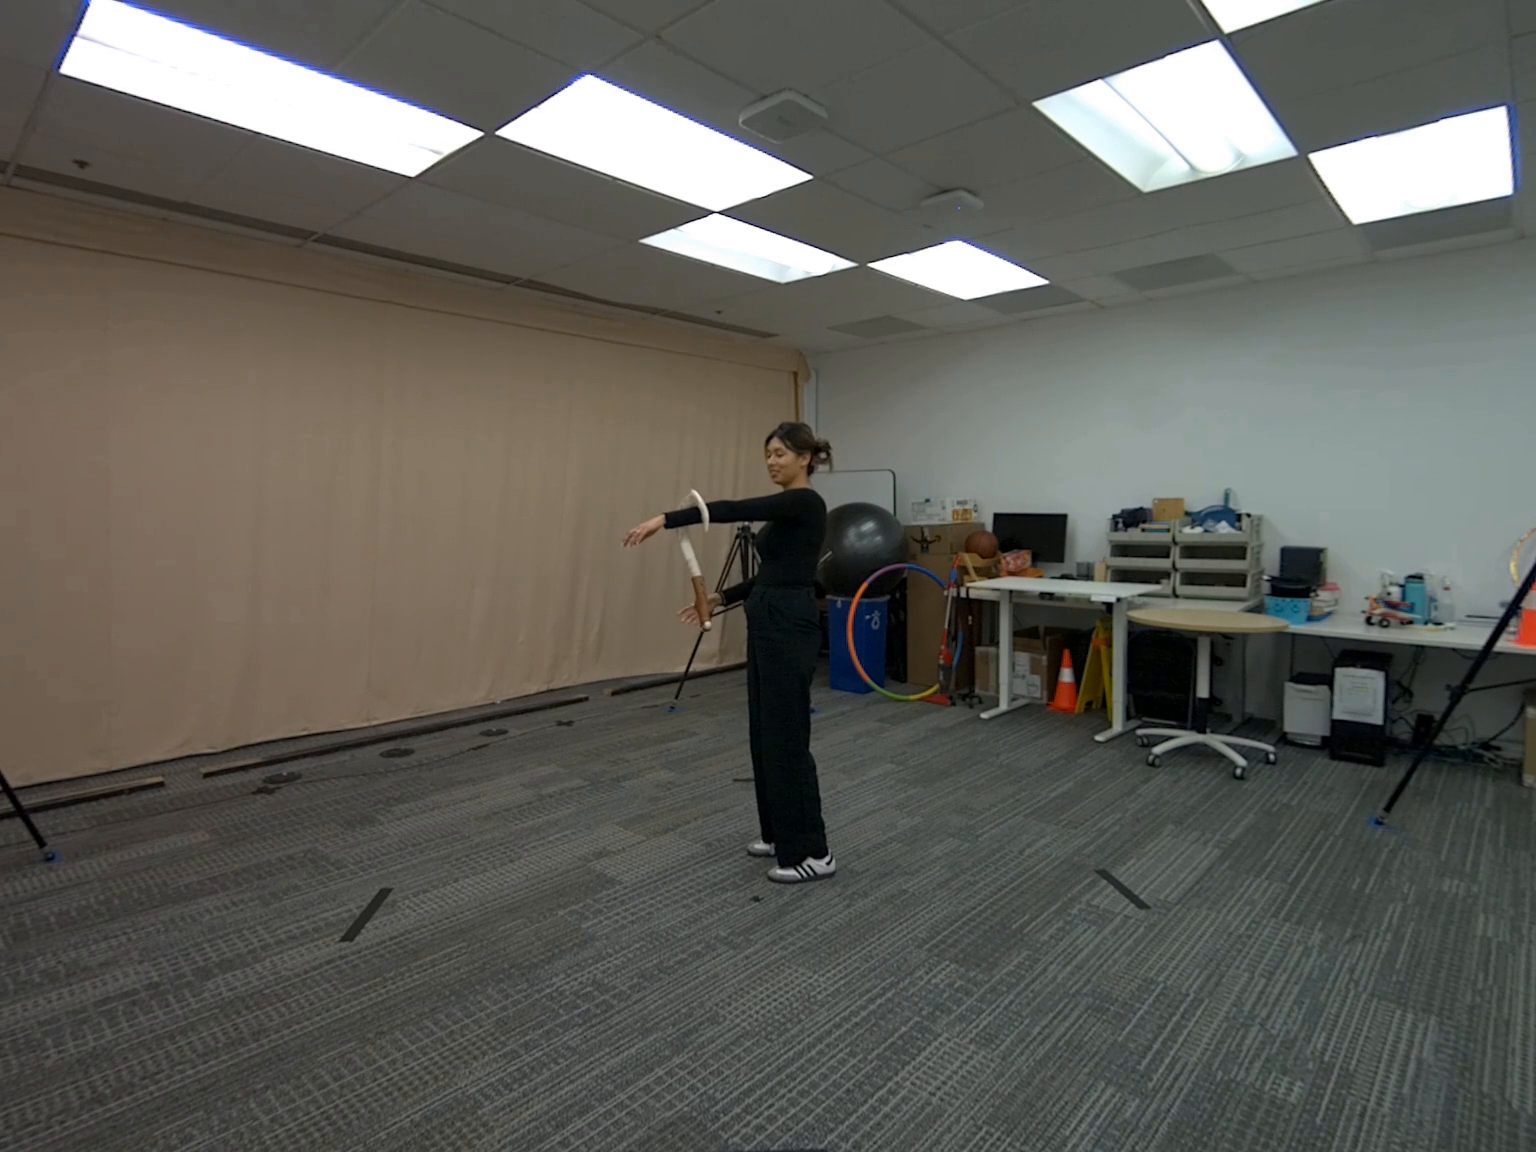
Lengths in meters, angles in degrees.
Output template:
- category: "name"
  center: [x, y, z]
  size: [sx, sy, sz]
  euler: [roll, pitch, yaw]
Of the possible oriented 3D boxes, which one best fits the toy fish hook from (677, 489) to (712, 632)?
- category: "toy fish hook"
  center: [-0.243, -0.061, 2.954]
  size: [0.047, 0.516, 0.225]
  euler: [-3, -25, -25]
